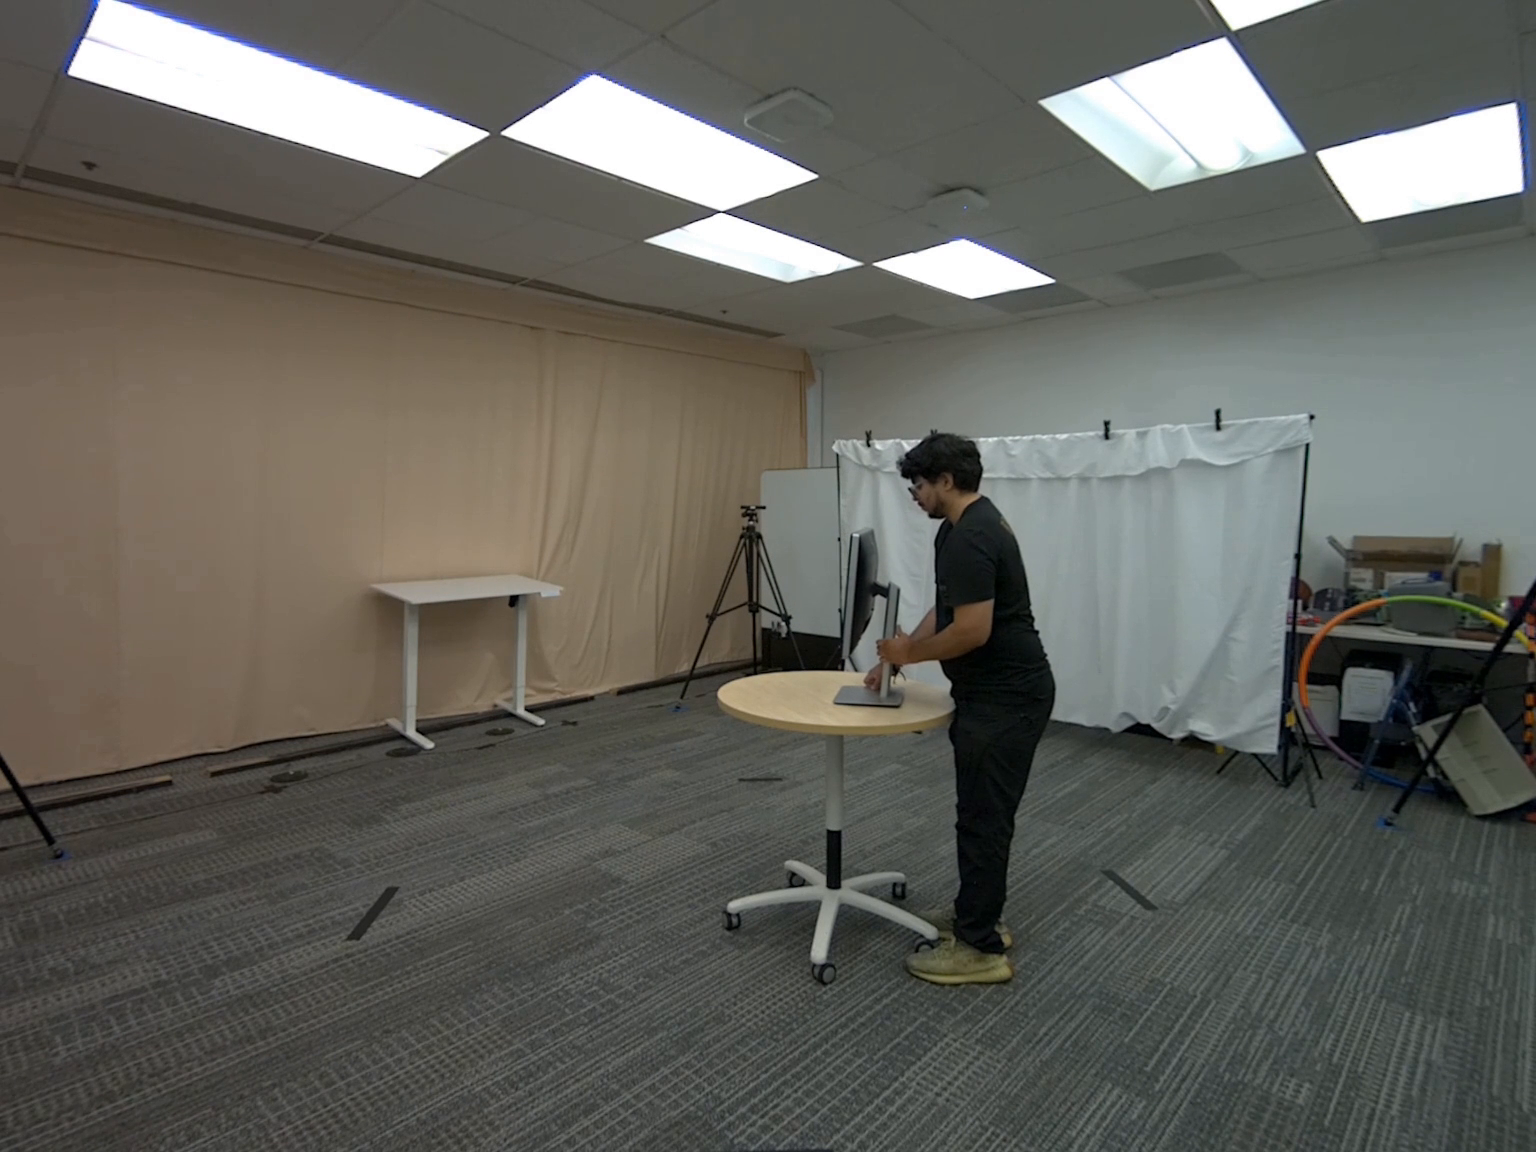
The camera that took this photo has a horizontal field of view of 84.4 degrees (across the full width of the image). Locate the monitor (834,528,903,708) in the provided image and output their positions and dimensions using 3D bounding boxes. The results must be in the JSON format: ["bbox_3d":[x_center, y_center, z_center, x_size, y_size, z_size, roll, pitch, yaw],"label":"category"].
[{"bbox_3d":[0.356,0.130,2.669,0.213,0.552,0.558,2,5,12],"label":"monitor"}]
